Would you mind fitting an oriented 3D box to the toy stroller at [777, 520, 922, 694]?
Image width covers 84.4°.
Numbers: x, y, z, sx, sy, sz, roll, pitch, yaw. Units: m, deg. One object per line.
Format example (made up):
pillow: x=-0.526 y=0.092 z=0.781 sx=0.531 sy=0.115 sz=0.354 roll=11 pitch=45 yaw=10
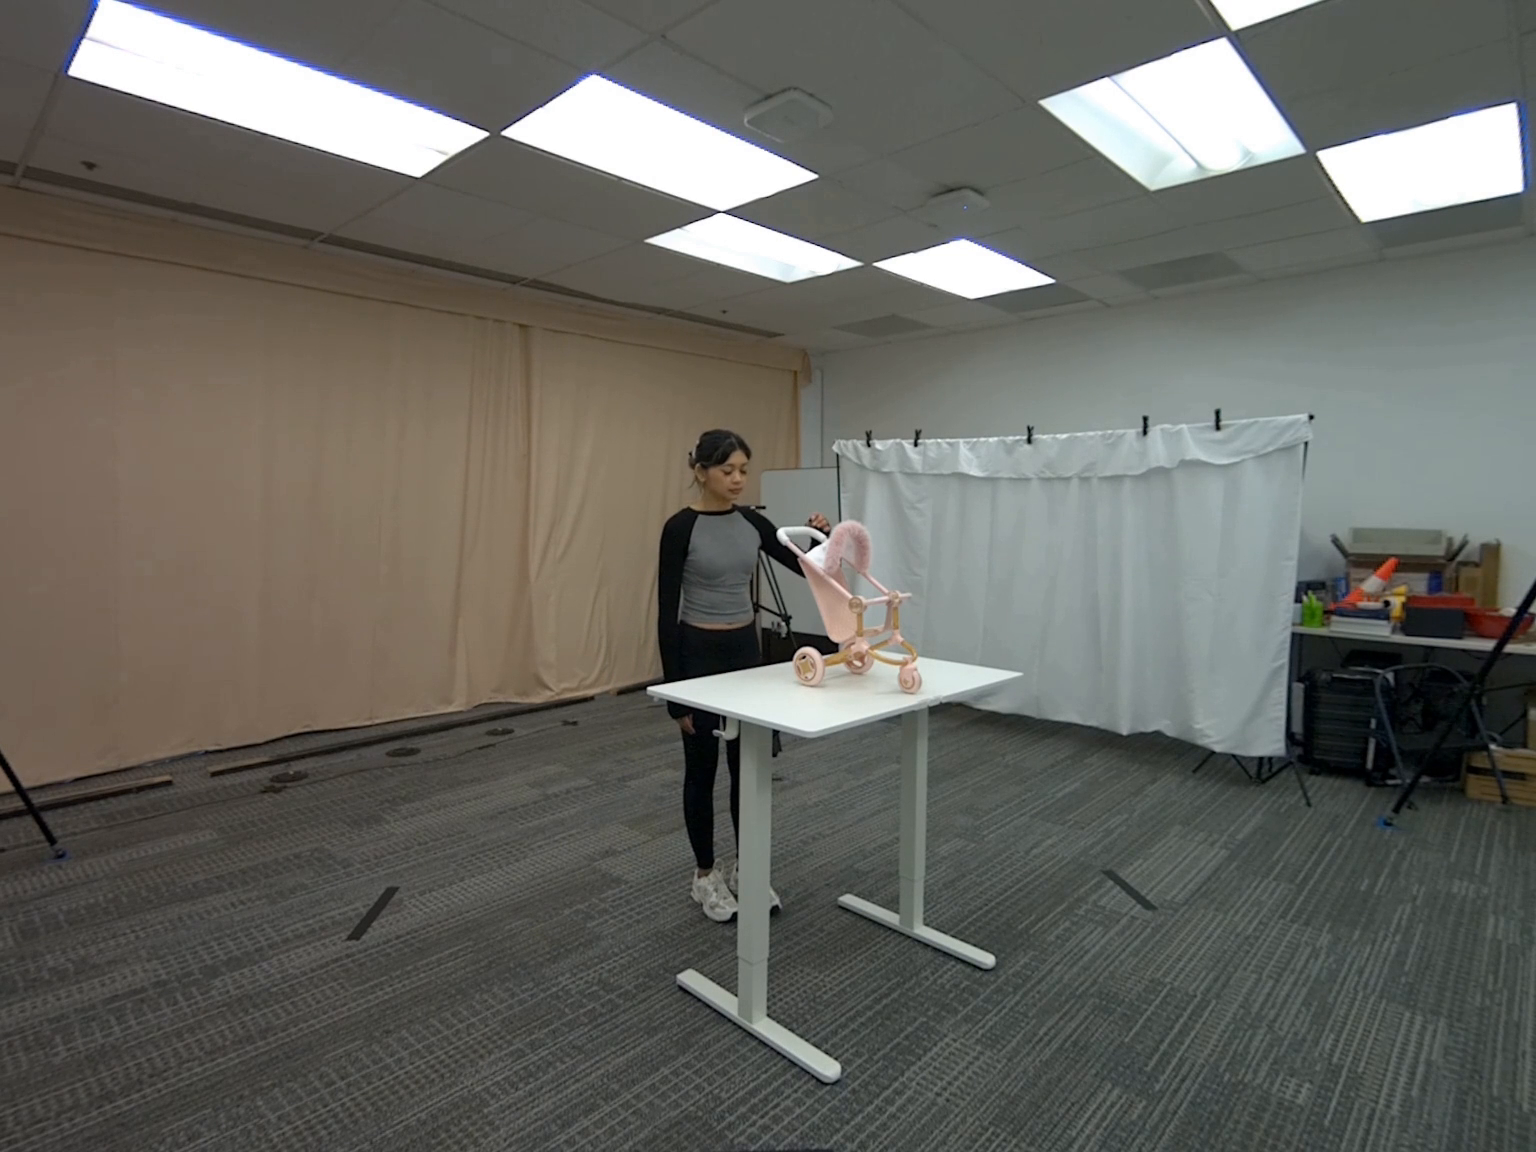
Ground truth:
toy stroller: x=0.247 y=0.085 z=2.402 sx=0.273 sy=0.538 sz=0.350 roll=-4 pitch=-9 yaw=-44
